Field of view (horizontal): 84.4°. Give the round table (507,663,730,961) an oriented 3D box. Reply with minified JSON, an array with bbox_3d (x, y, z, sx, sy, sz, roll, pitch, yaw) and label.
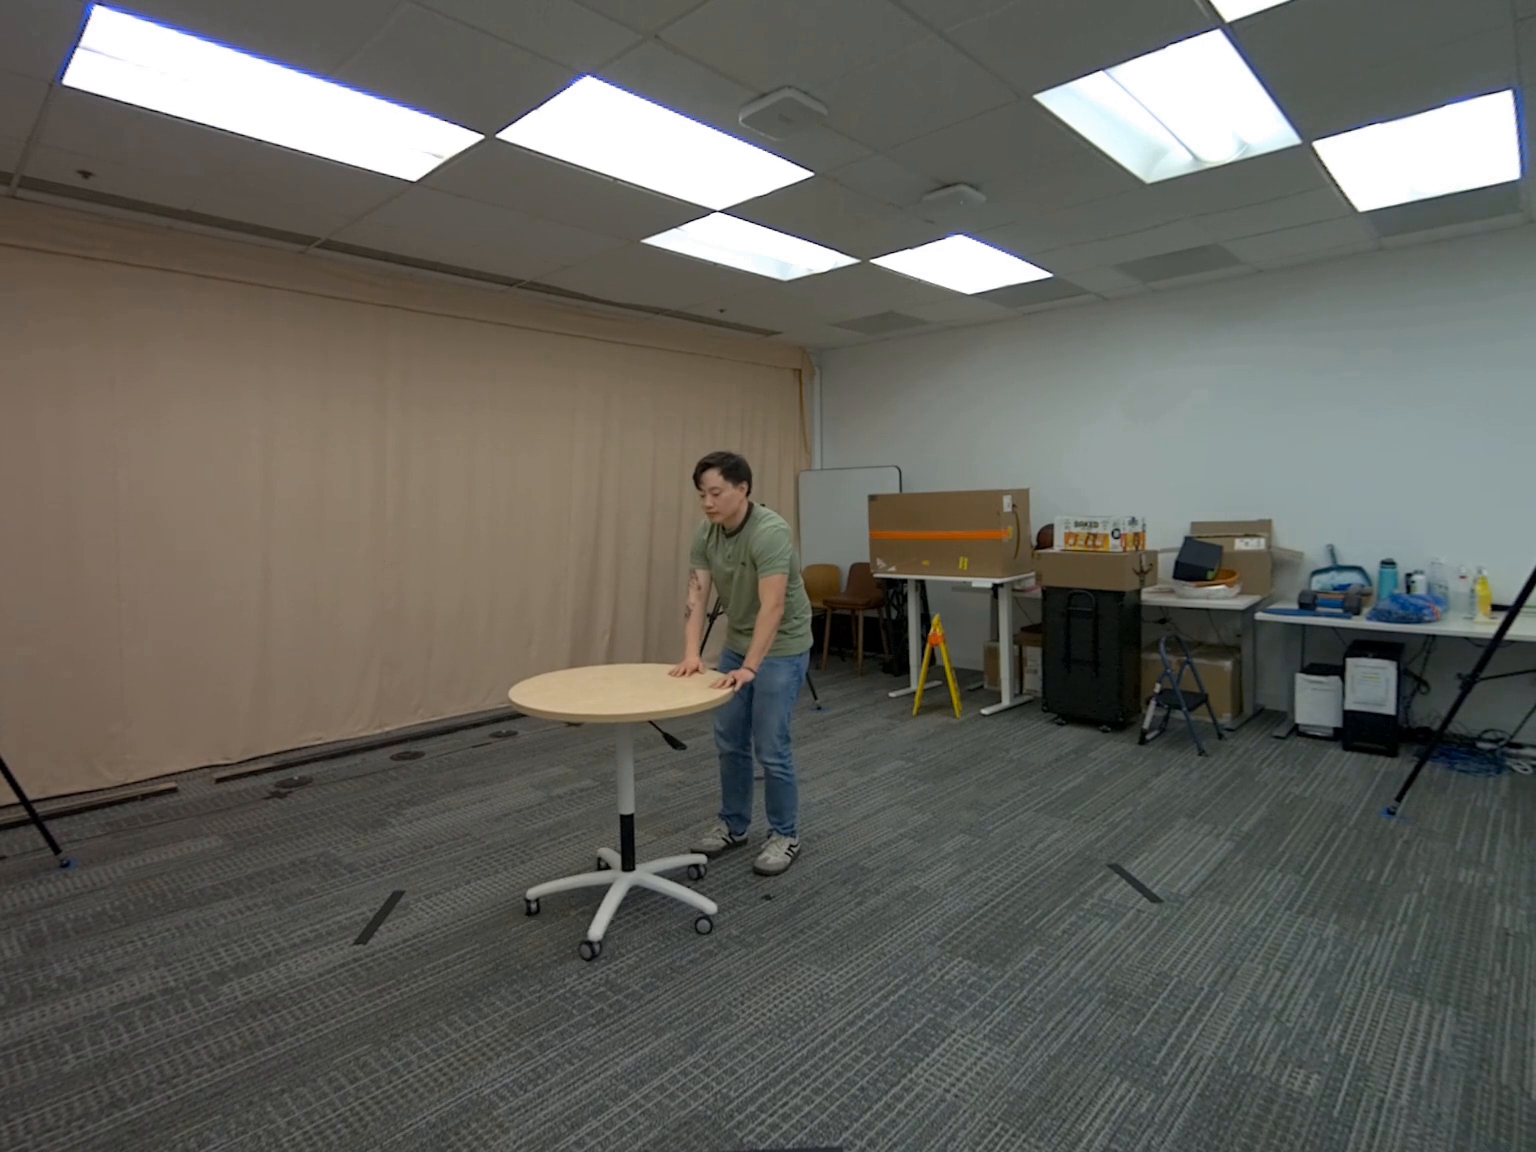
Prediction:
[{"bbox_3d":[-0.482,0.768,2.900,0.763,0.792,0.767,-1,4,-2],"label":"round table"}]
